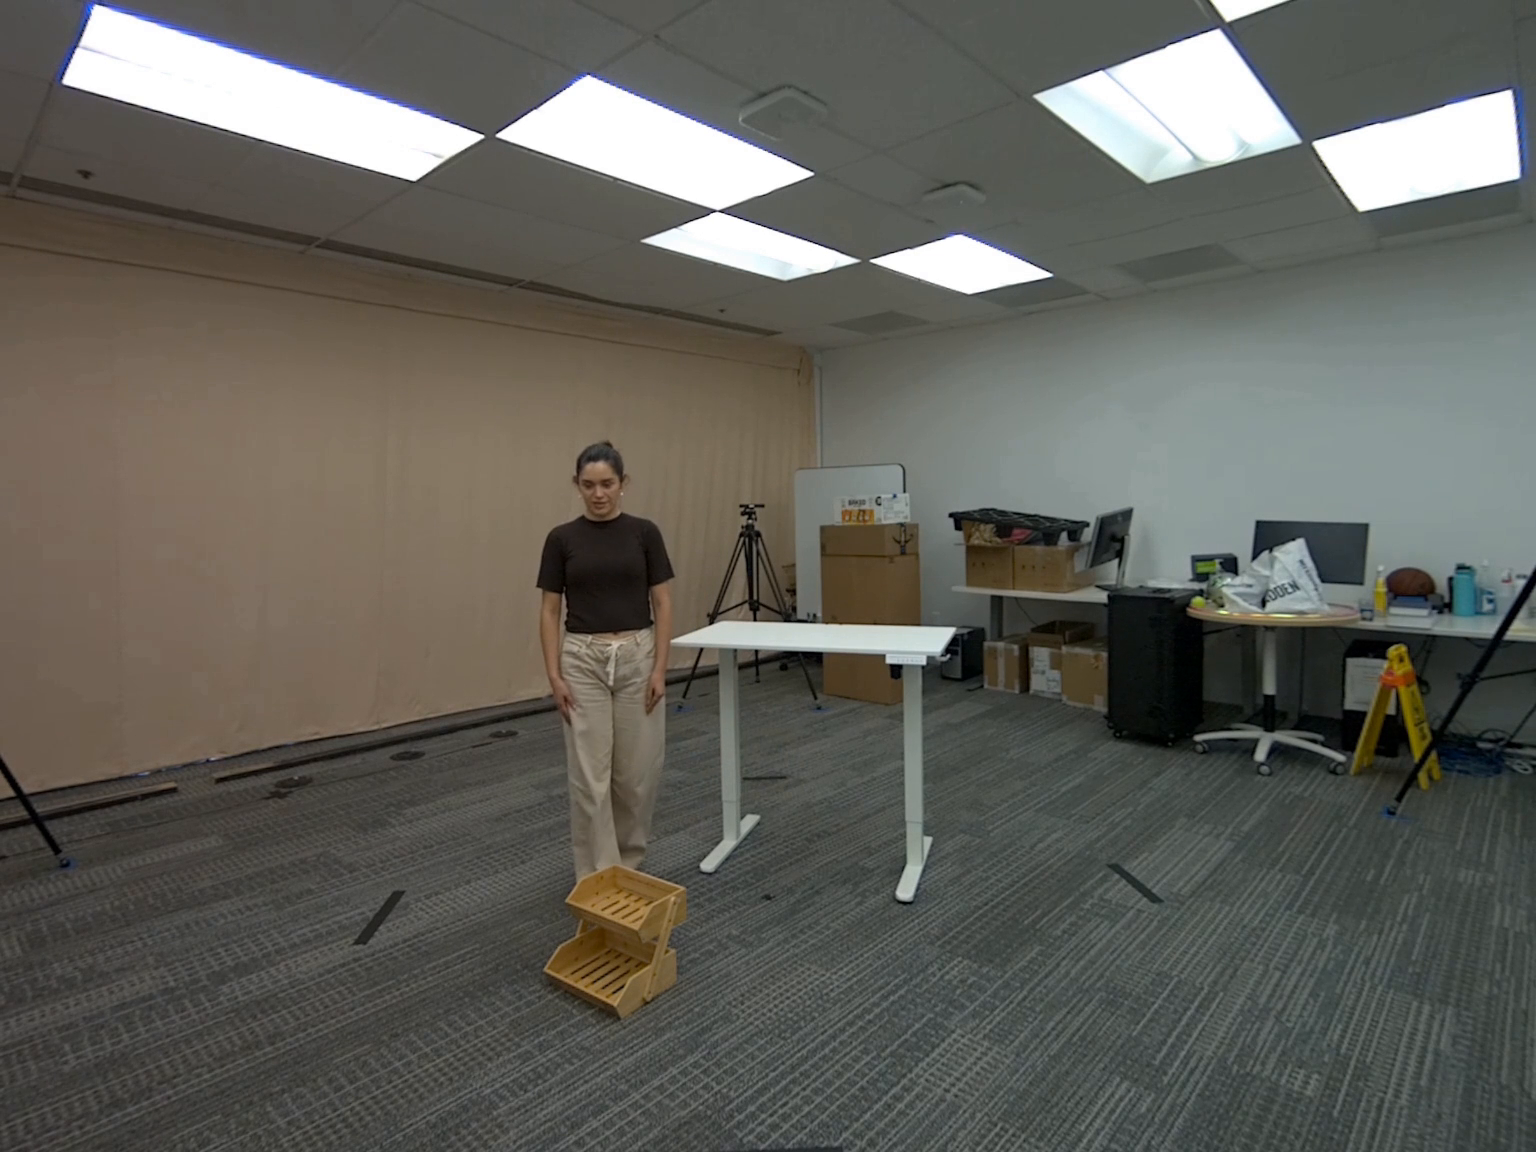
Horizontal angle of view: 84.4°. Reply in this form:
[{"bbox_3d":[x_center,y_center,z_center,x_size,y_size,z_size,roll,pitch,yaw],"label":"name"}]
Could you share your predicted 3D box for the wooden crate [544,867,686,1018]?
[{"bbox_3d":[-0.448,1.063,2.470,0.334,0.273,0.293,1,4,36],"label":"wooden crate"}]
